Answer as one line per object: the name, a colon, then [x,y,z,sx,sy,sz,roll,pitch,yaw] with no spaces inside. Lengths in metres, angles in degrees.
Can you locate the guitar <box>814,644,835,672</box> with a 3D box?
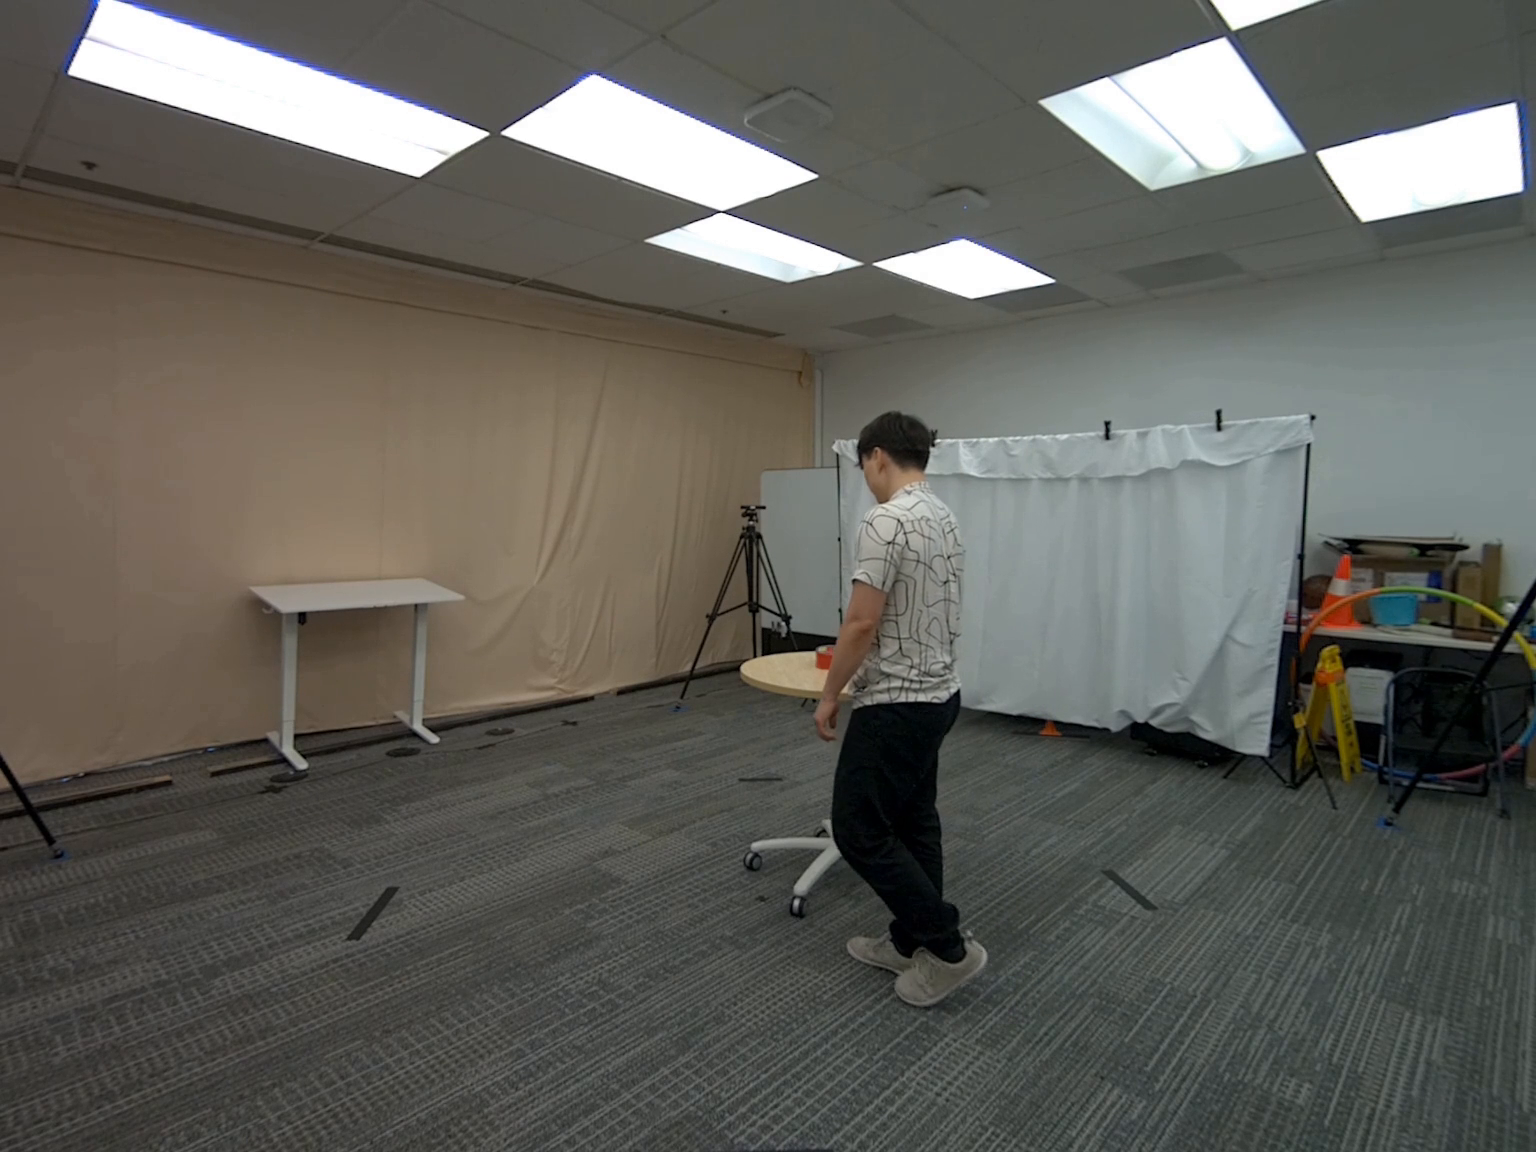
guitar: [0.439,0.314,3.133,0.508,0.070,0.189,2,4,19]
